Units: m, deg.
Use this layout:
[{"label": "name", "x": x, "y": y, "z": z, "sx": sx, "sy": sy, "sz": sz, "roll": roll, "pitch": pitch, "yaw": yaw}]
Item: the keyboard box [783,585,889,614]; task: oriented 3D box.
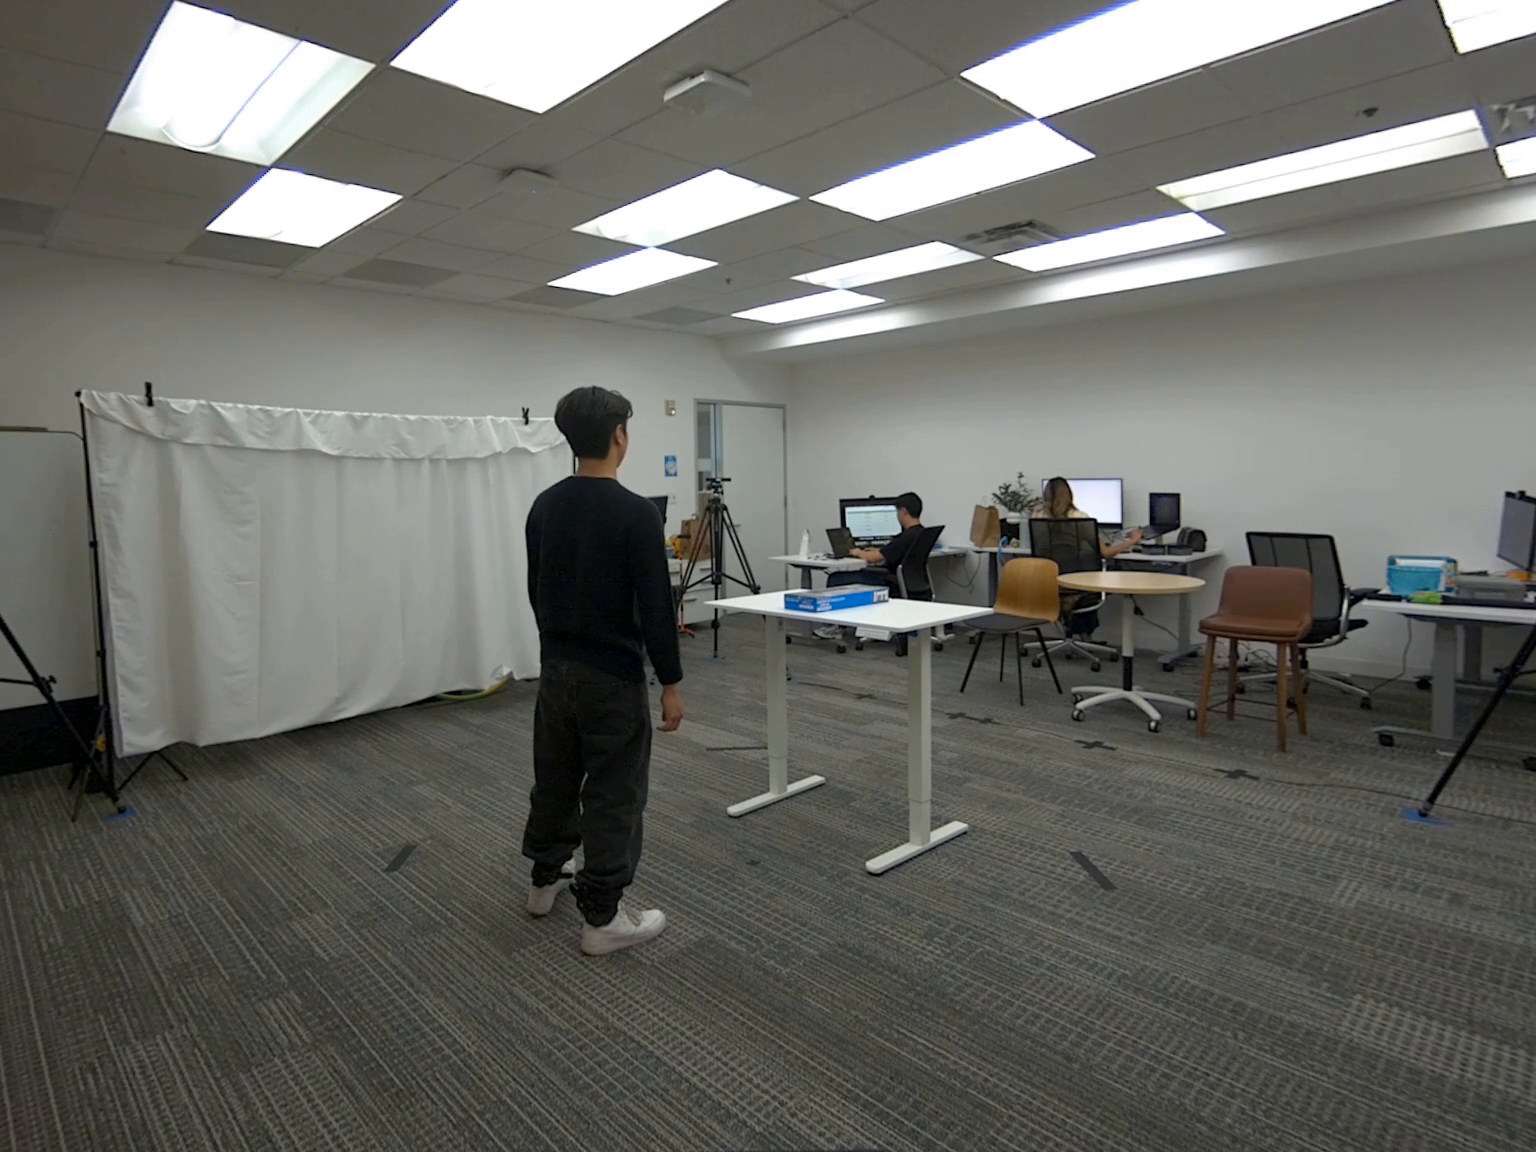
[{"label": "keyboard box", "x": 0.284, "y": 0.088, "z": 3.423, "sx": 0.425, "sy": 0.059, "sz": 0.181, "roll": -6, "pitch": 8, "yaw": -41}]
